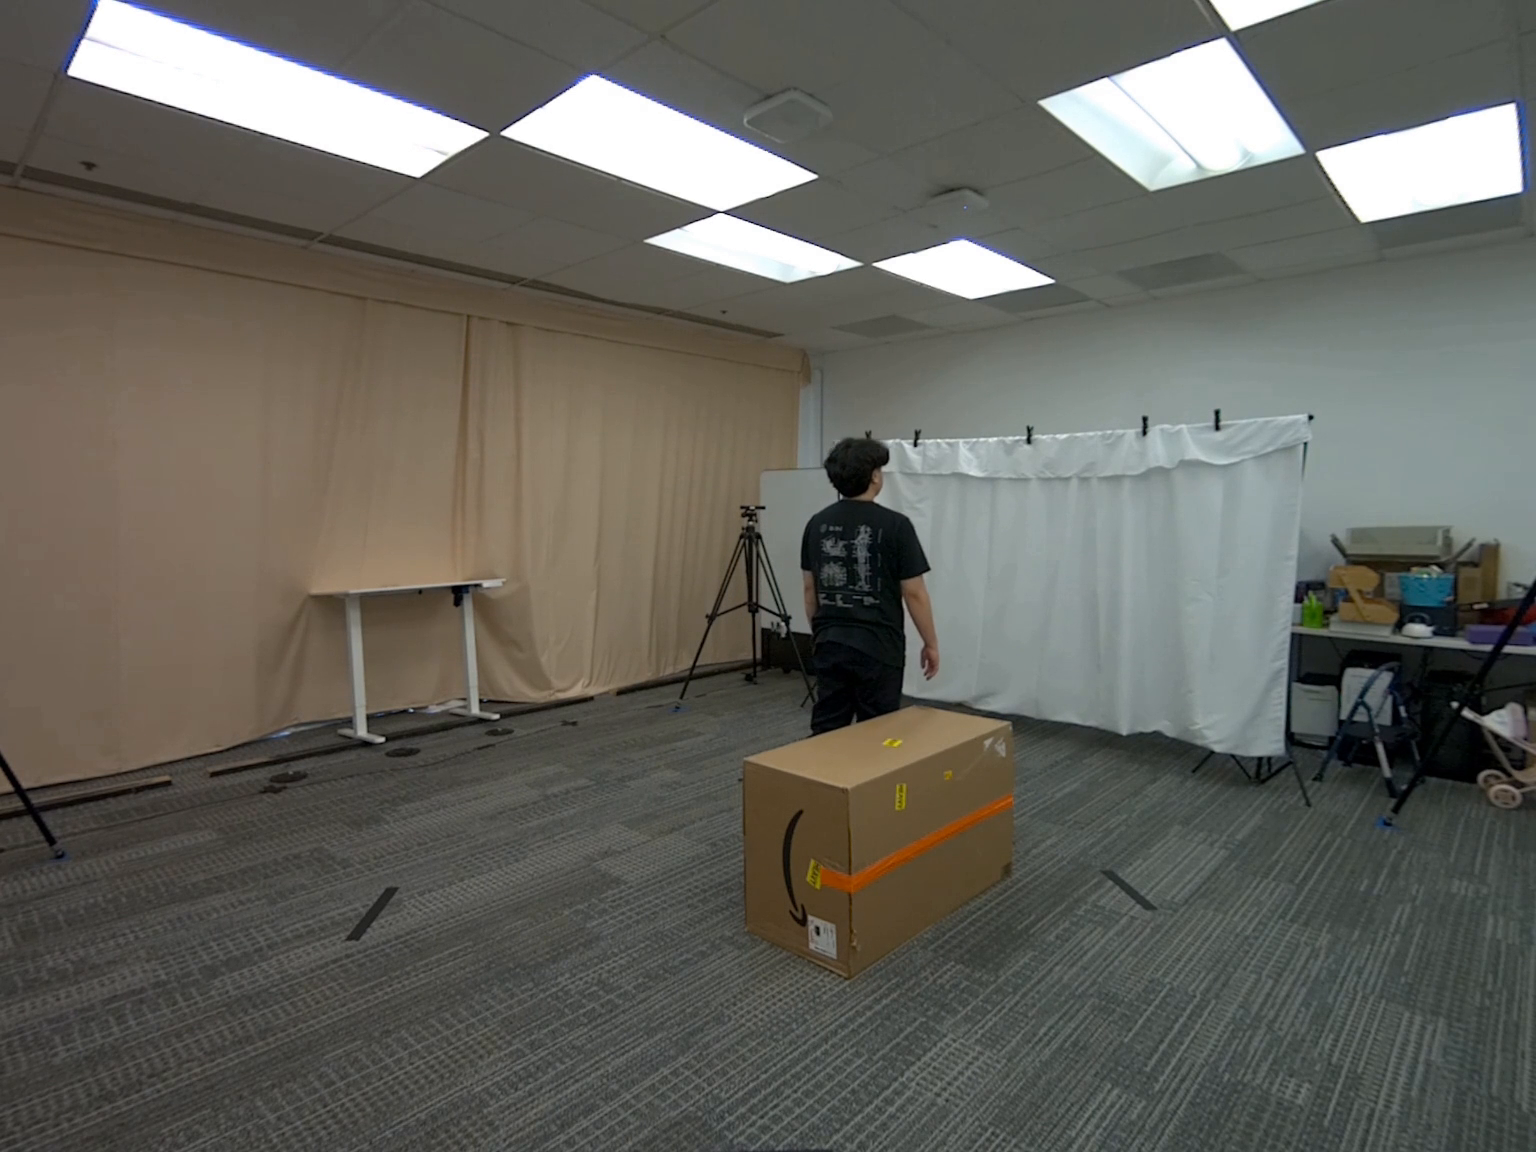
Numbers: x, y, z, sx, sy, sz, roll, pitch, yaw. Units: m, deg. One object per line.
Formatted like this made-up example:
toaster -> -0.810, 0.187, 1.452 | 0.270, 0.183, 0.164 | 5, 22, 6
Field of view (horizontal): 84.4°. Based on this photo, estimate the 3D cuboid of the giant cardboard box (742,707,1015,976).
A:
giant cardboard box -> 0.425, 0.862, 2.951 | 0.462, 0.582, 0.996 | 4, 7, 44
